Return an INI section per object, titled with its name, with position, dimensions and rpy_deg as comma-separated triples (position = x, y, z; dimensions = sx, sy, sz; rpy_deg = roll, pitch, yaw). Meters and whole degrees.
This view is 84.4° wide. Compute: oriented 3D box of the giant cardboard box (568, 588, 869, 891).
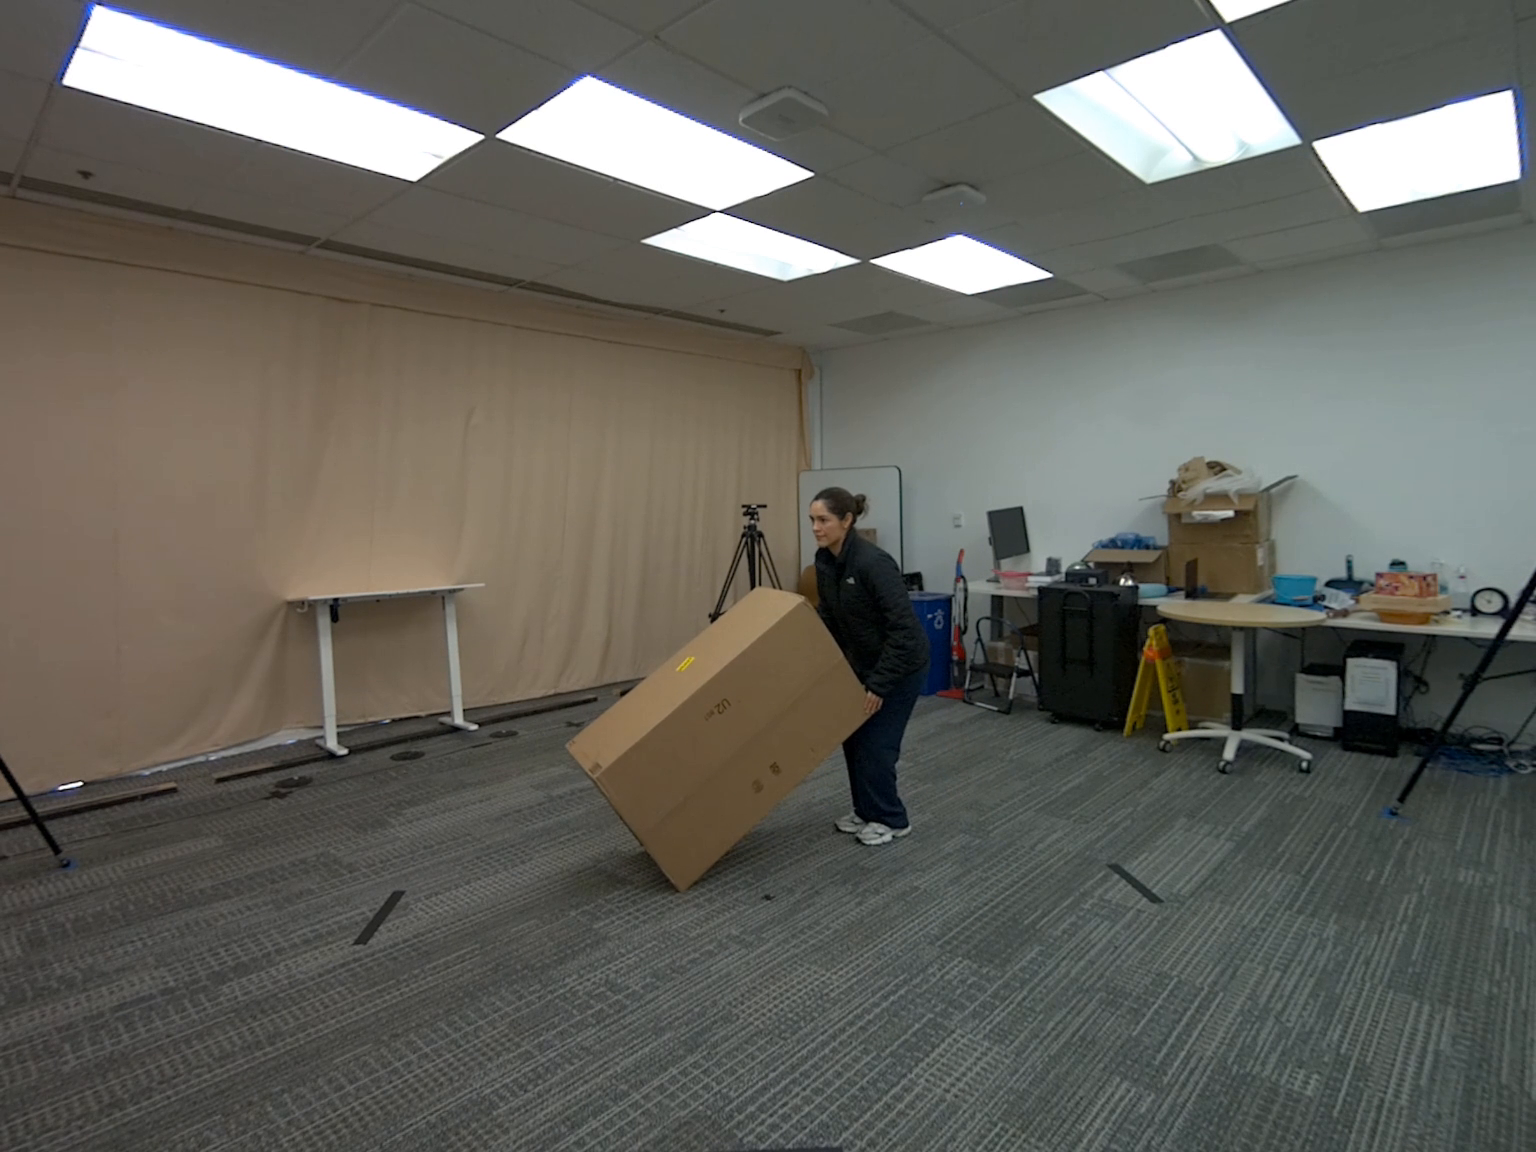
[giant cardboard box]
position = -0.163, 0.588, 3.298
dimensions = 1.019, 0.573, 0.458
rpy_deg = -40, 18, -18
